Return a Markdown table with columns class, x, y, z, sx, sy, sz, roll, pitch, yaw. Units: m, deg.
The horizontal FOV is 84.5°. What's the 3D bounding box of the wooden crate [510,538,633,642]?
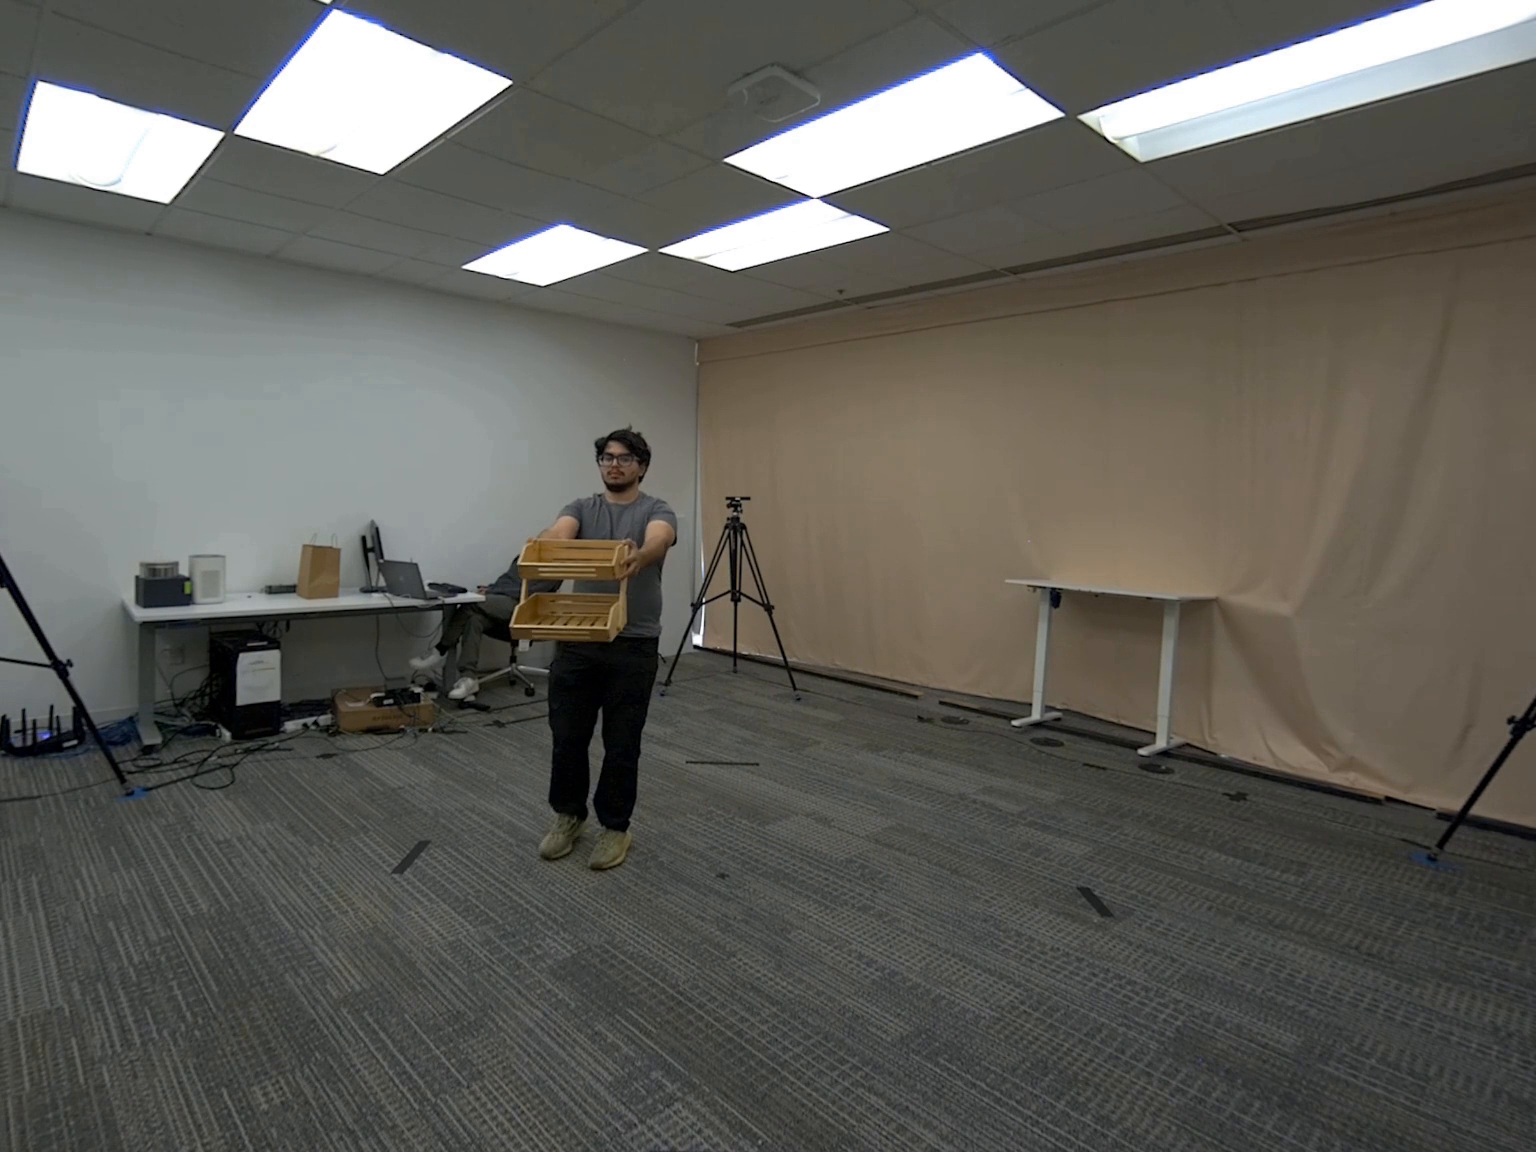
| class | x | y | z | sx | sy | sz | roll | pitch | yaw |
| --- | --- | --- | --- | --- | --- | --- | --- | --- | --- |
| wooden crate | -0.628 | 0.041 | 2.603 | 0.325 | 0.271 | 0.303 | 1 | 10 | 3 |
